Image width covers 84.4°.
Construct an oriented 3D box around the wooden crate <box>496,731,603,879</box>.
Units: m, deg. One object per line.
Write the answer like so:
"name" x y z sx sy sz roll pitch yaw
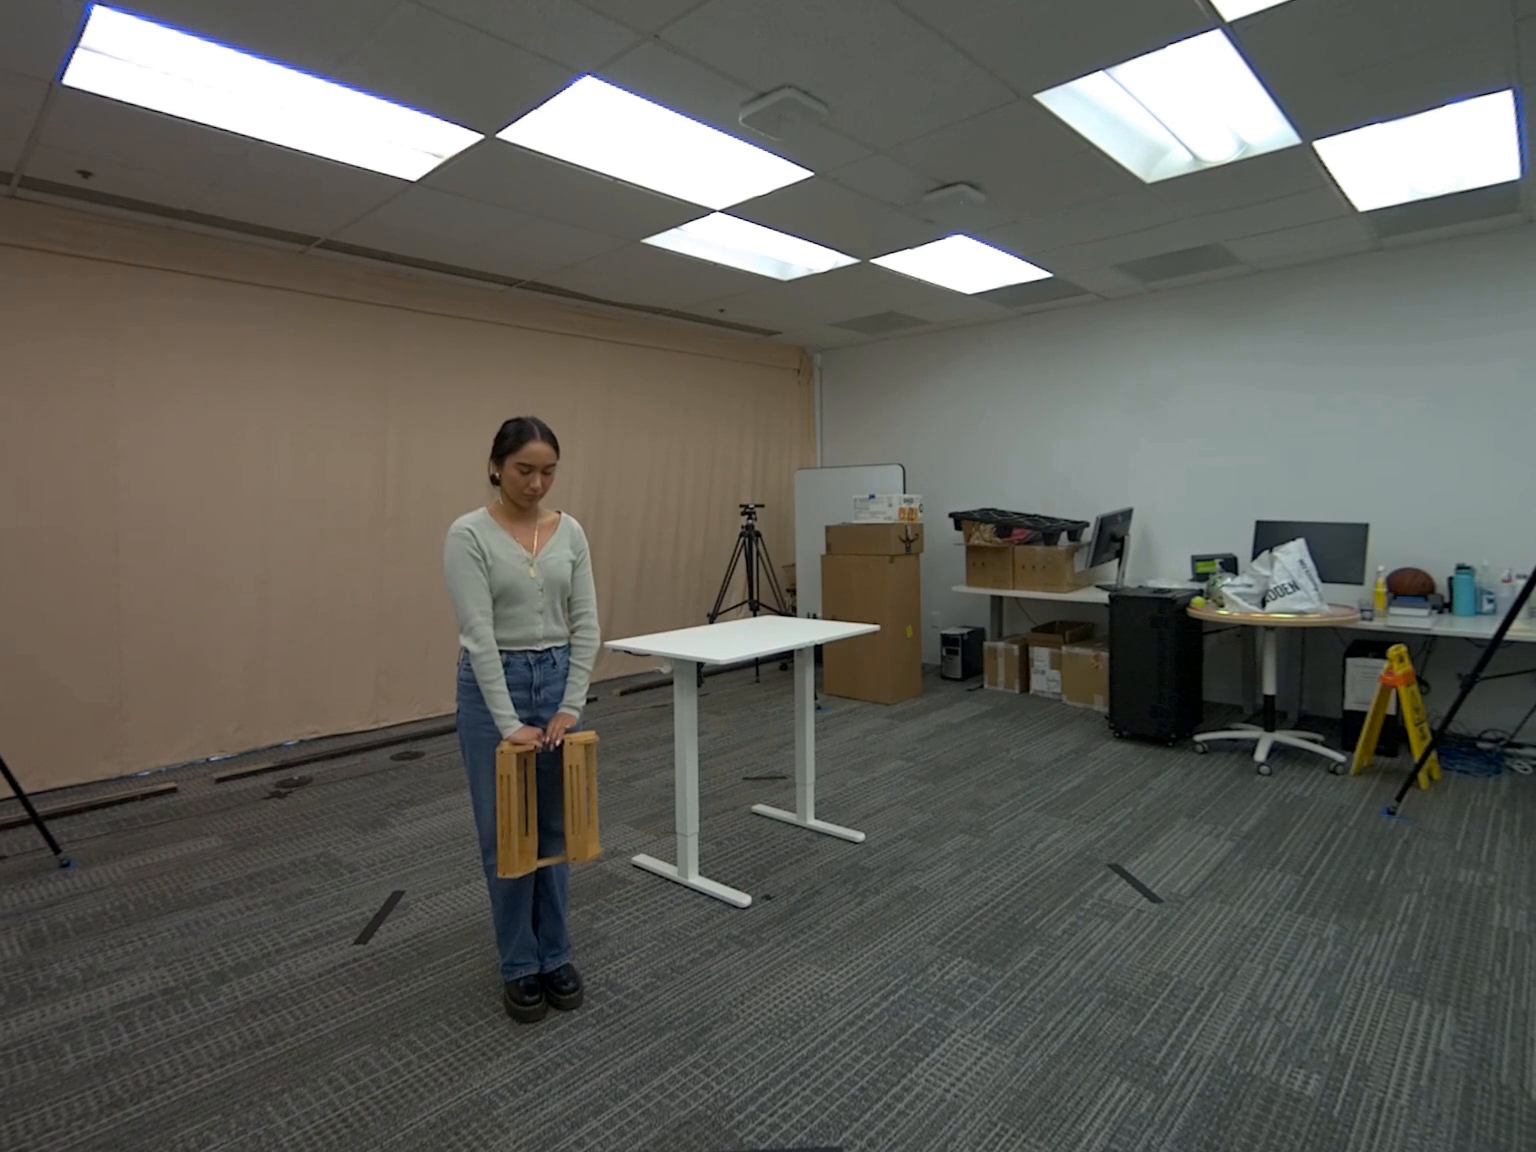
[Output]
"wooden crate" -0.553 0.582 2.192 0.269 0.326 0.305 0 -6 -15
